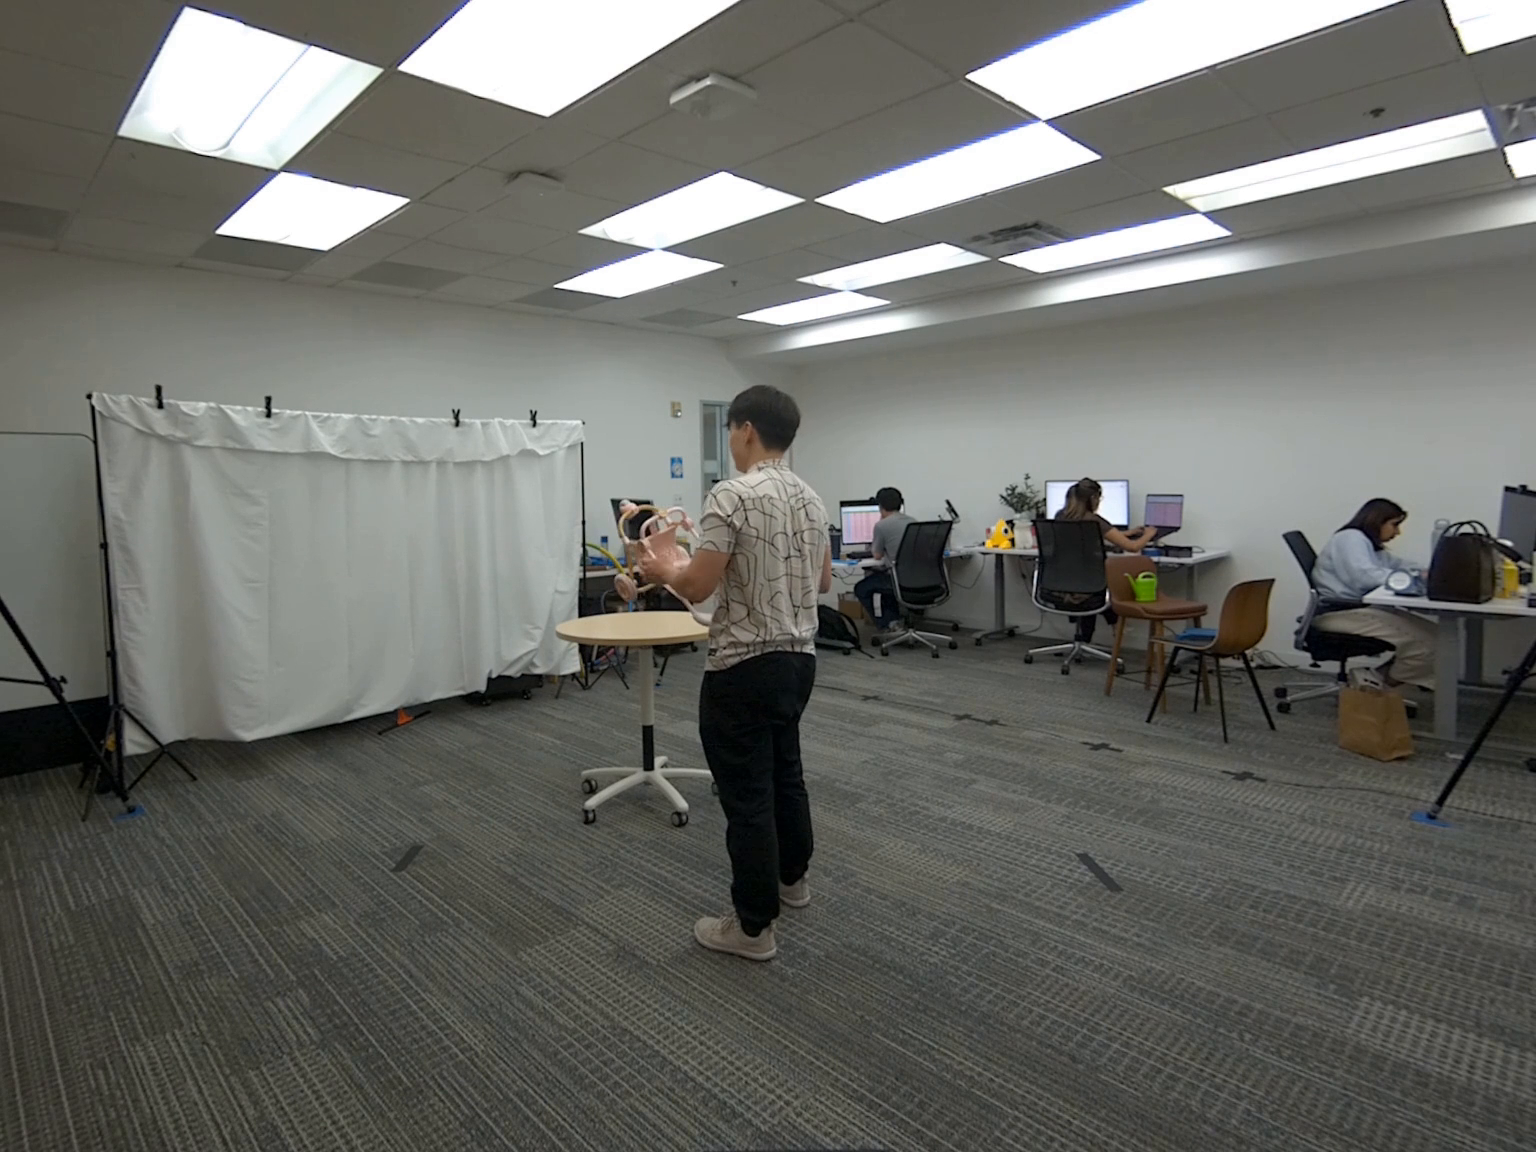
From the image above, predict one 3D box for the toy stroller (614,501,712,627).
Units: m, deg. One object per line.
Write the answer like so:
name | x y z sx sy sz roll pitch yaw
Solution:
toy stroller | -0.321 -0.066 2.942 0.277 0.334 0.554 -24 28 -35
